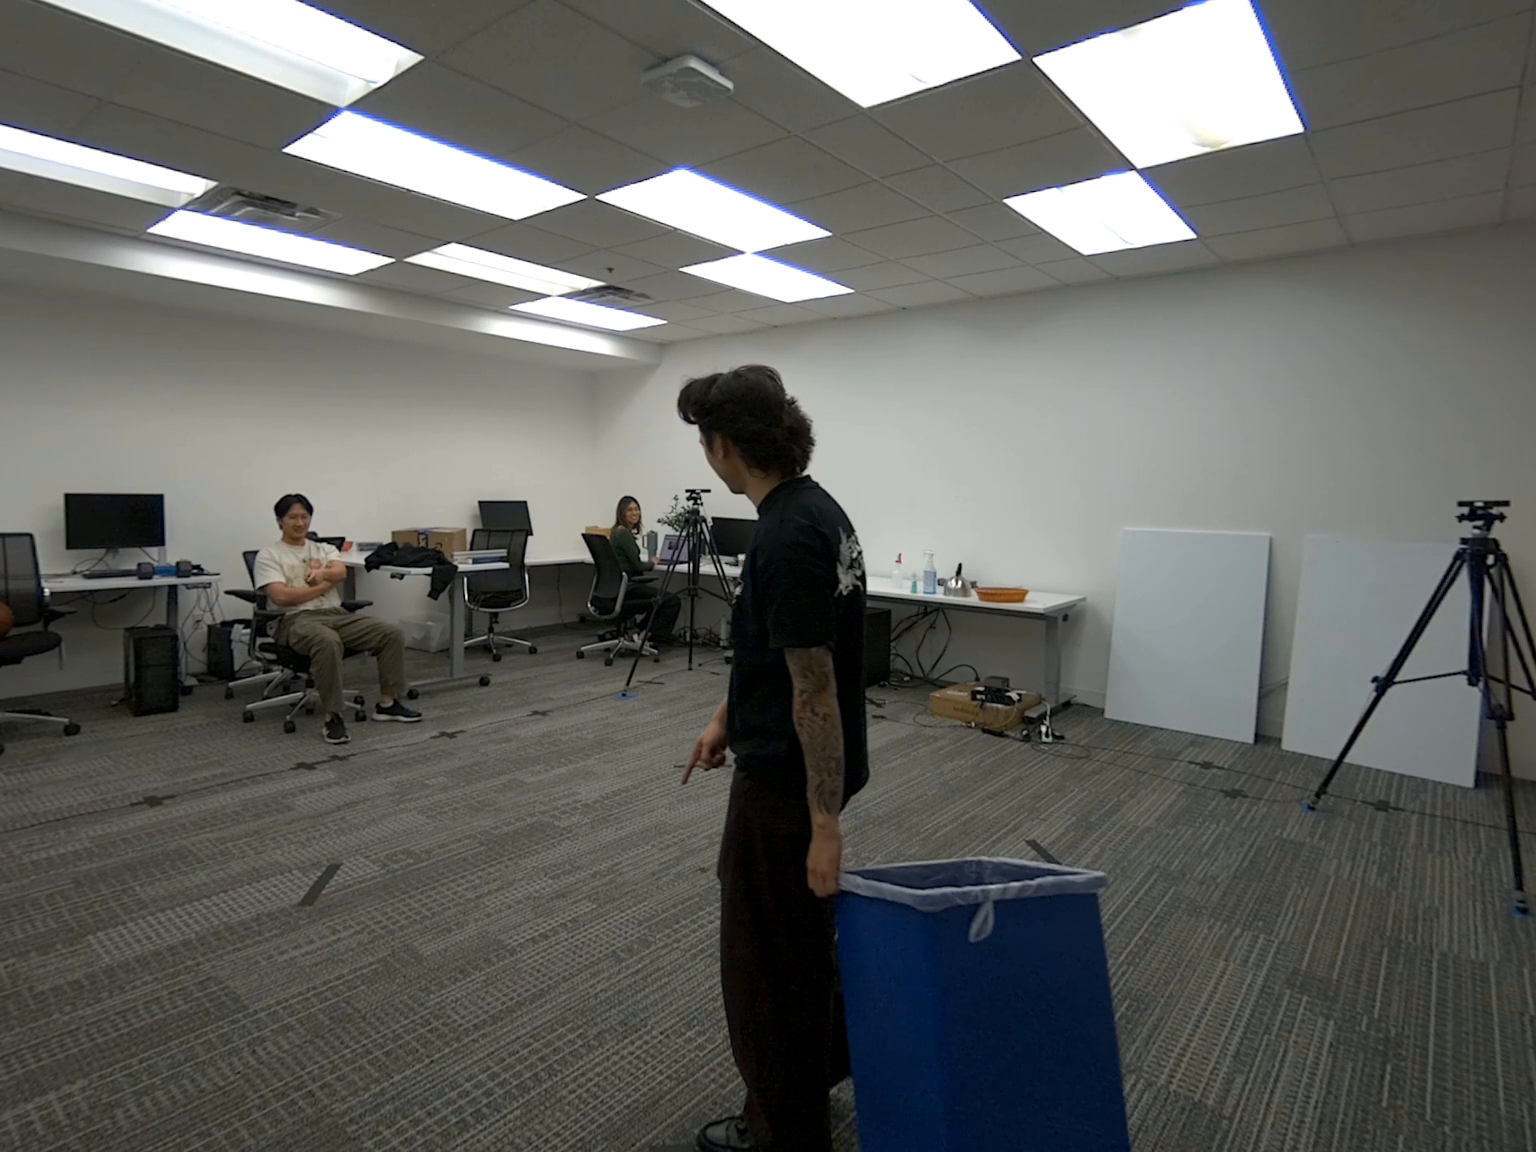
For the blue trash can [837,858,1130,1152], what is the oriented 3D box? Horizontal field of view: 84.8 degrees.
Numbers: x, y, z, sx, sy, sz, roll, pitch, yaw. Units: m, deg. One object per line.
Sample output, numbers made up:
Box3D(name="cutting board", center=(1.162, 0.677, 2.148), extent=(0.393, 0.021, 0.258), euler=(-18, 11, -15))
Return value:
Box3D(name="blue trash can", center=(0.354, 0.876, 1.405), extent=(0.370, 0.723, 0.377), euler=(2, -14, -21))
